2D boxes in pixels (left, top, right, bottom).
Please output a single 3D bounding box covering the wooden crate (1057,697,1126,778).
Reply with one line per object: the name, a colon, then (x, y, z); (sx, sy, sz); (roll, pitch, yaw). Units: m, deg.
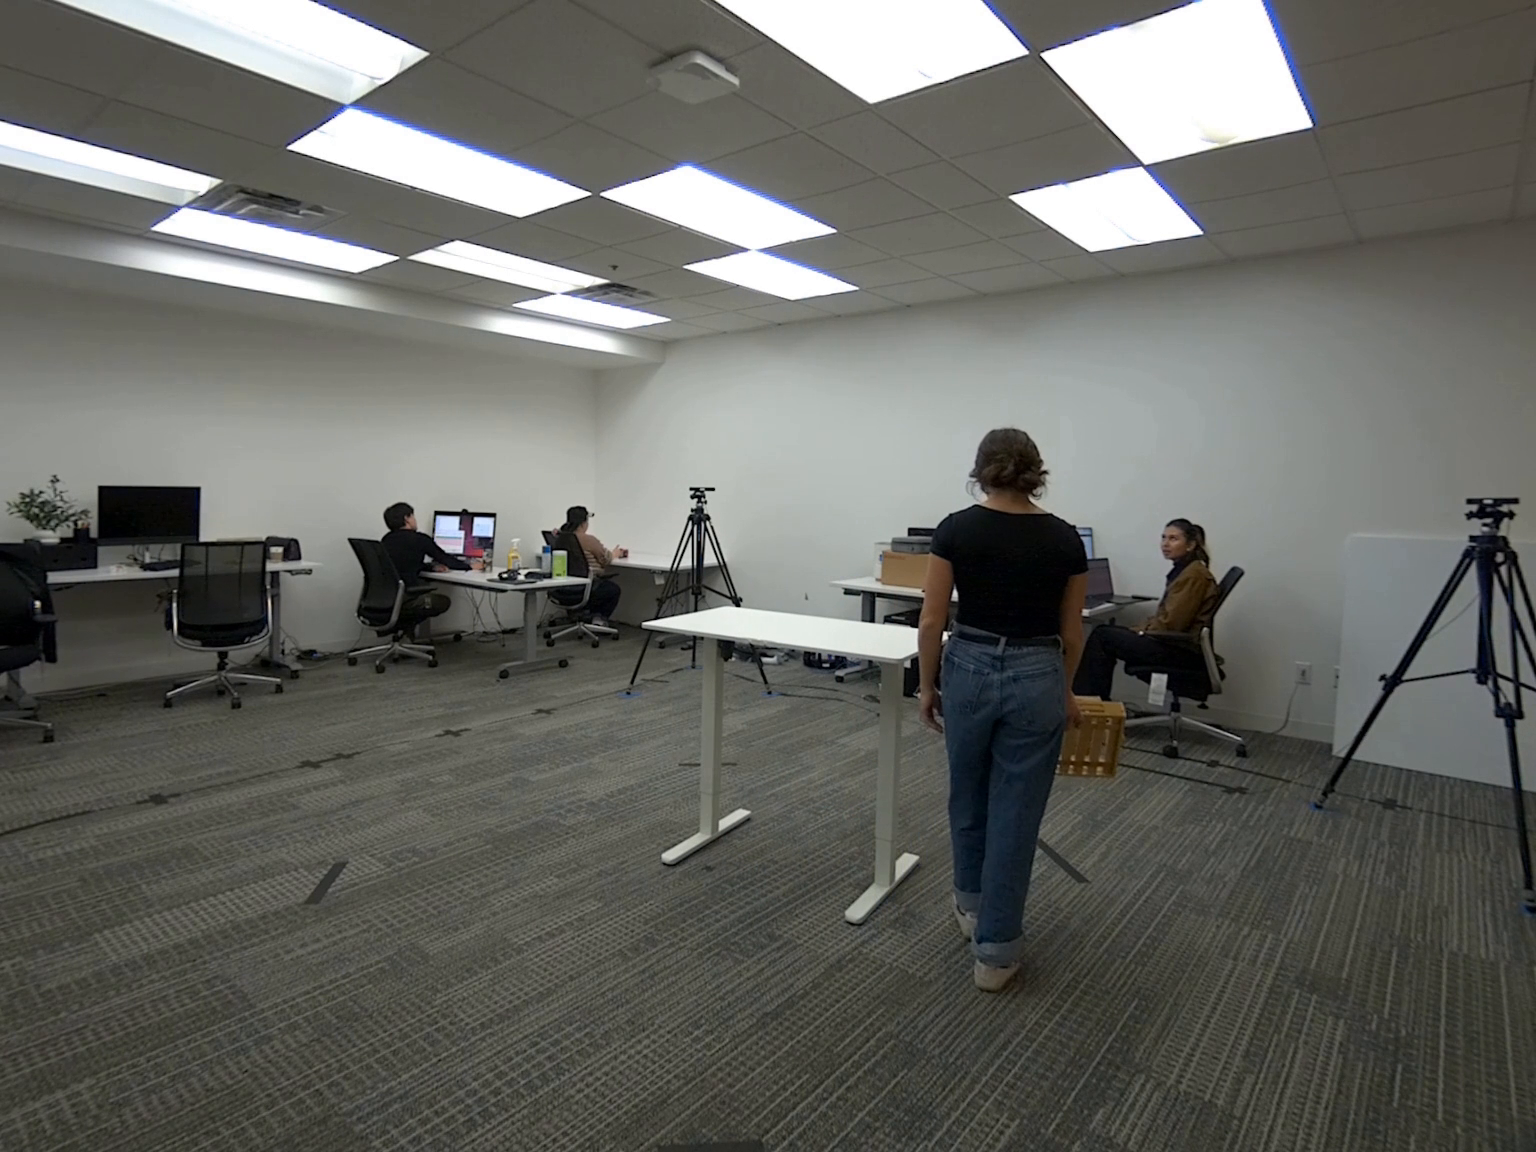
wooden crate: (0.946, 0.480, 2.758); (0.327, 0.296, 0.277); (1, 22, 6)
